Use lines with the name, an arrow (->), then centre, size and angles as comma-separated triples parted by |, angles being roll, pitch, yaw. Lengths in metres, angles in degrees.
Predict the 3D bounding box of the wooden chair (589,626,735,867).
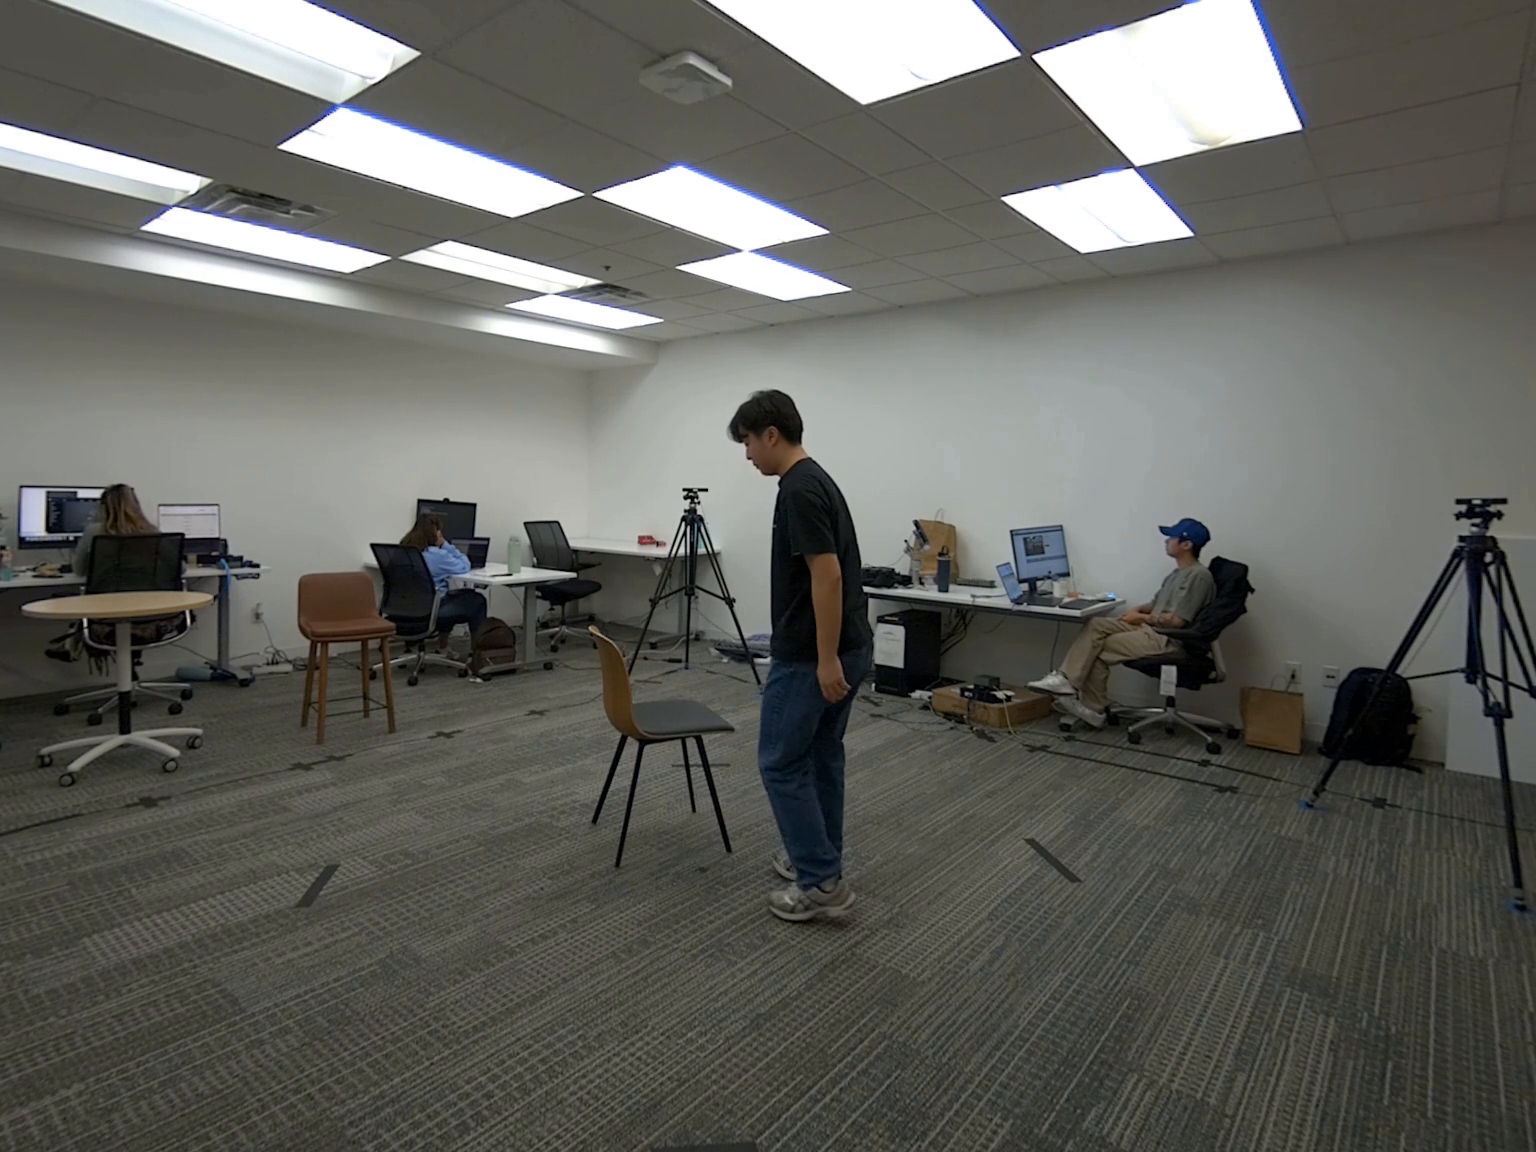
wooden chair -> -0.432, 0.615, 3.367 | 0.513, 0.874, 0.489 | -4, 5, -21
